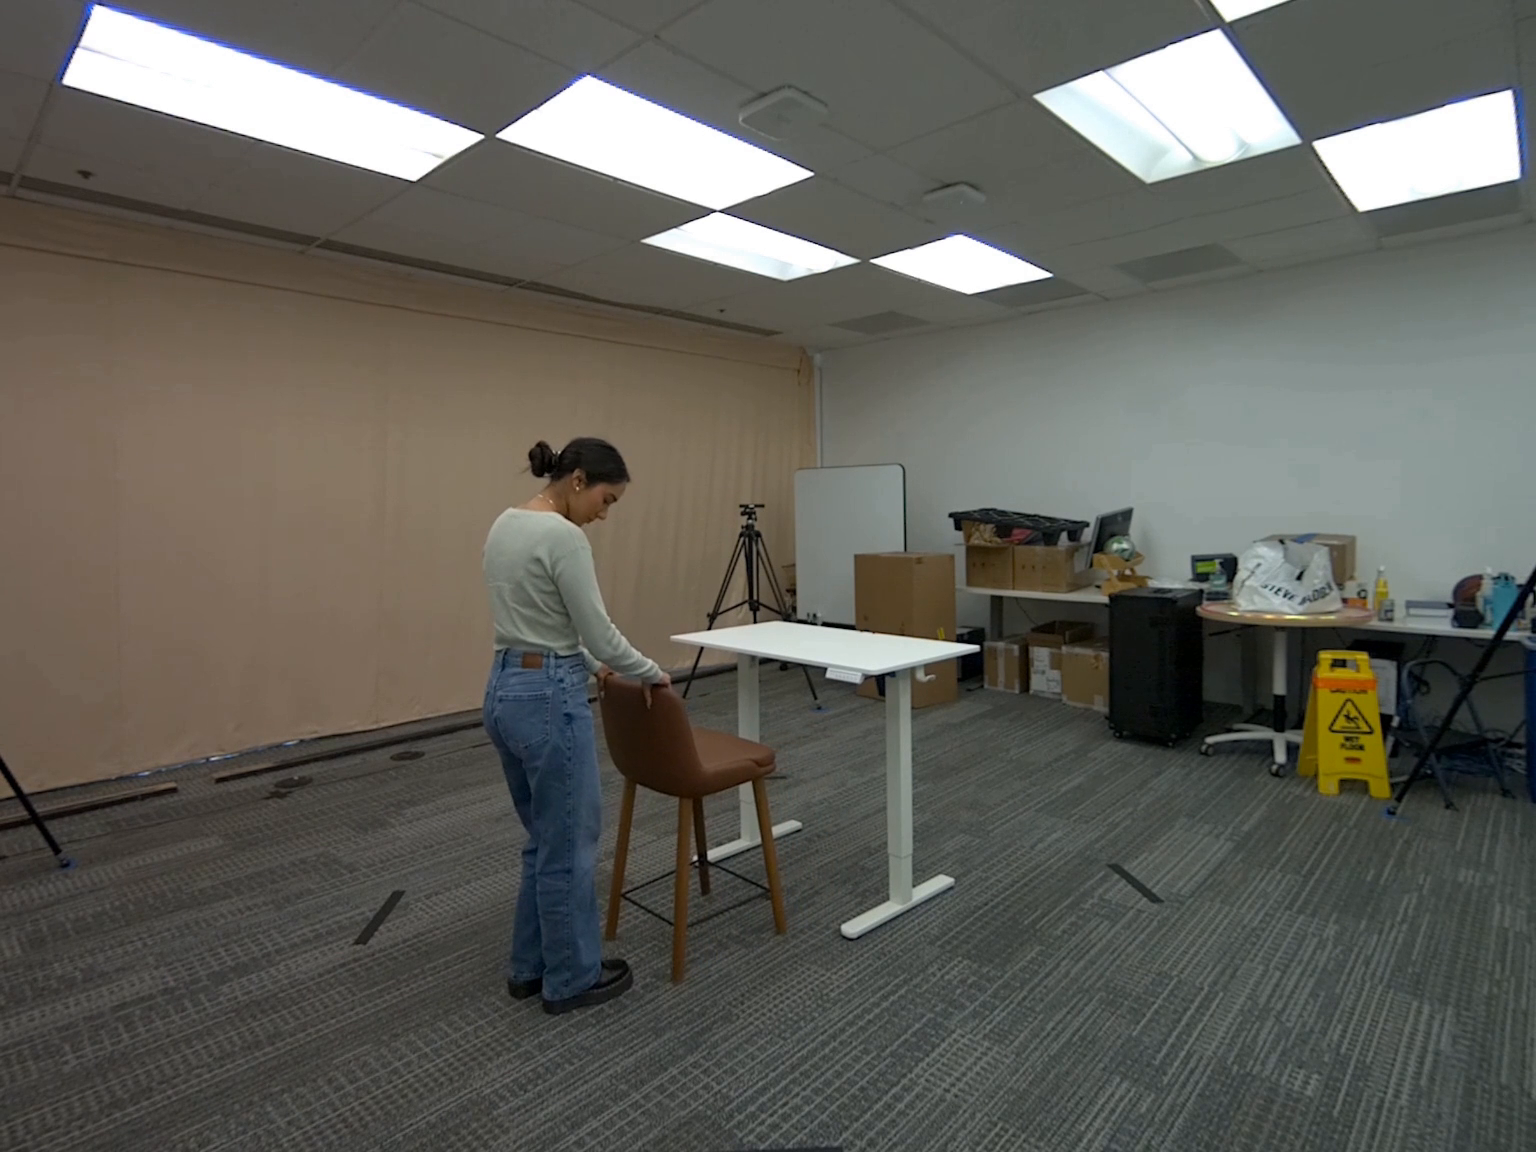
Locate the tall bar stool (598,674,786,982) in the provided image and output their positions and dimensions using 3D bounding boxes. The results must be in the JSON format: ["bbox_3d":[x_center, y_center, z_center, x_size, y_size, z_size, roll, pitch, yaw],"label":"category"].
[{"bbox_3d":[-0.252,0.728,2.705,0.454,0.887,0.471,-7,6,-43],"label":"tall bar stool"}]
